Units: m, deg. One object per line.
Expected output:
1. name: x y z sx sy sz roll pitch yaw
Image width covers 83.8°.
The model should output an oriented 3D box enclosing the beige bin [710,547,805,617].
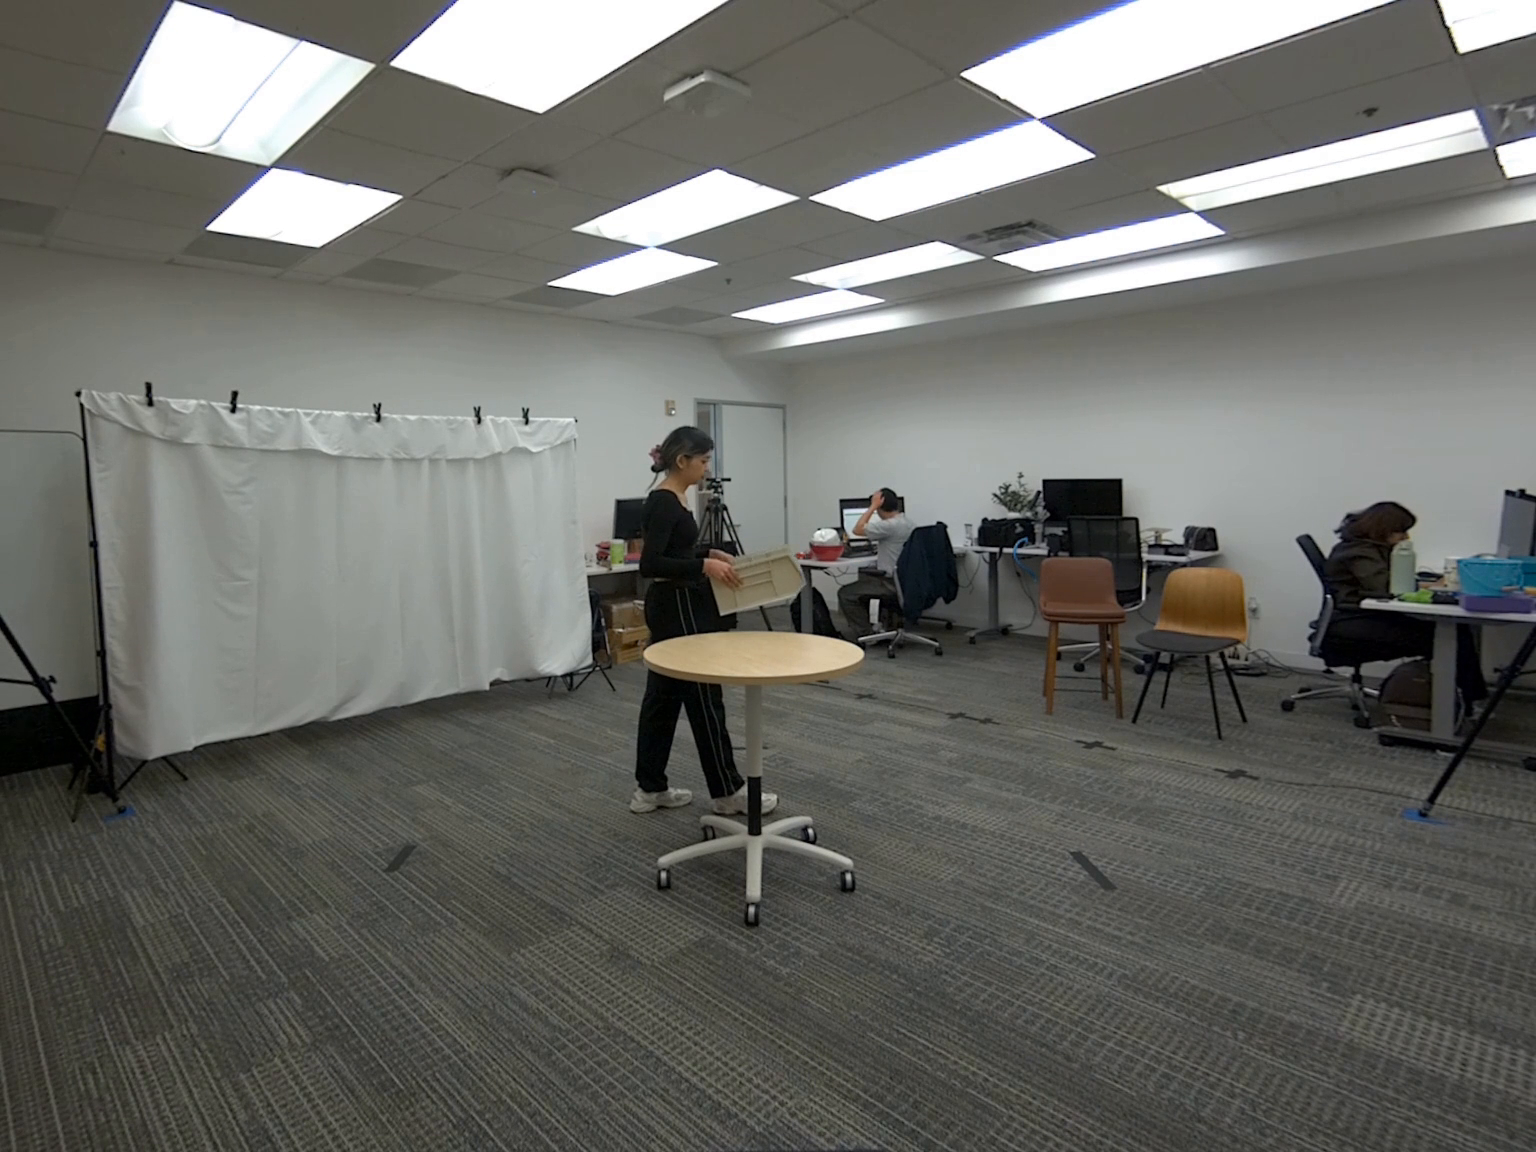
1. beige bin: -0.039 0.017 3.600 0.378 0.188 0.423 -14 4 2
